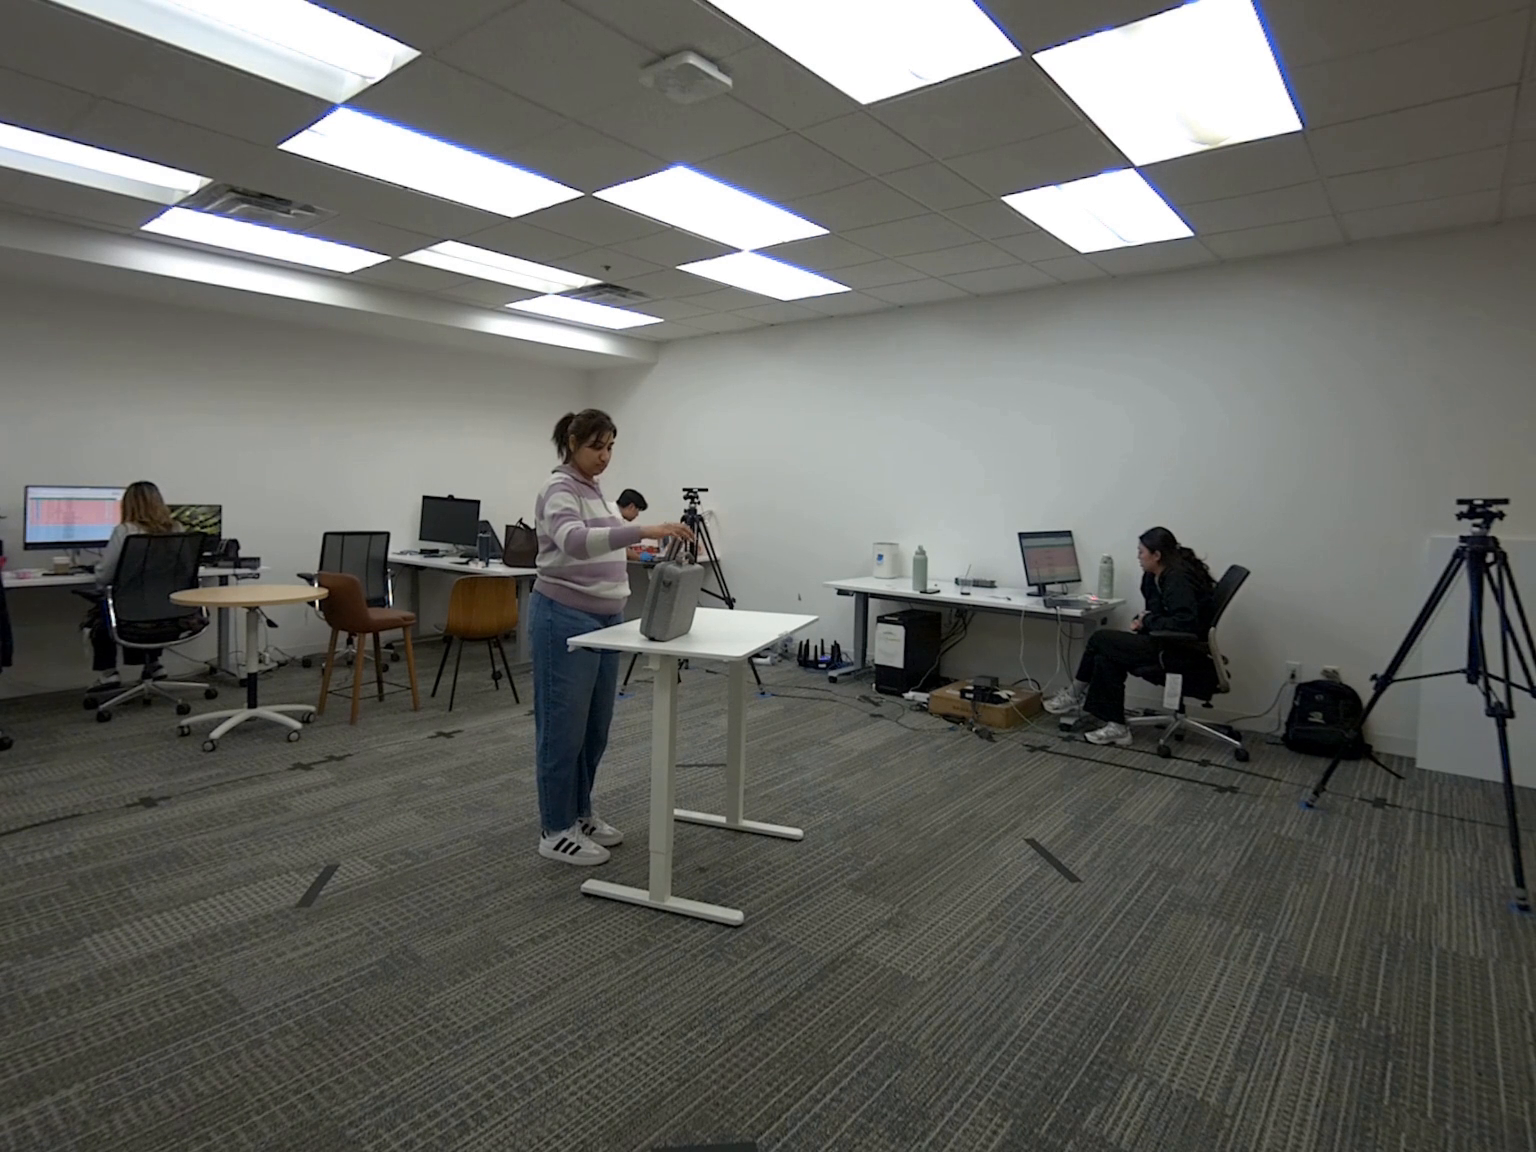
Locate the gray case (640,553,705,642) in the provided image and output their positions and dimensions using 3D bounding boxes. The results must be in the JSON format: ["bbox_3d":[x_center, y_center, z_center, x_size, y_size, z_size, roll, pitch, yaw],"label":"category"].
[{"bbox_3d":[-0.331,0.075,2.876,0.106,0.259,0.253,14,8,15],"label":"gray case"}]
